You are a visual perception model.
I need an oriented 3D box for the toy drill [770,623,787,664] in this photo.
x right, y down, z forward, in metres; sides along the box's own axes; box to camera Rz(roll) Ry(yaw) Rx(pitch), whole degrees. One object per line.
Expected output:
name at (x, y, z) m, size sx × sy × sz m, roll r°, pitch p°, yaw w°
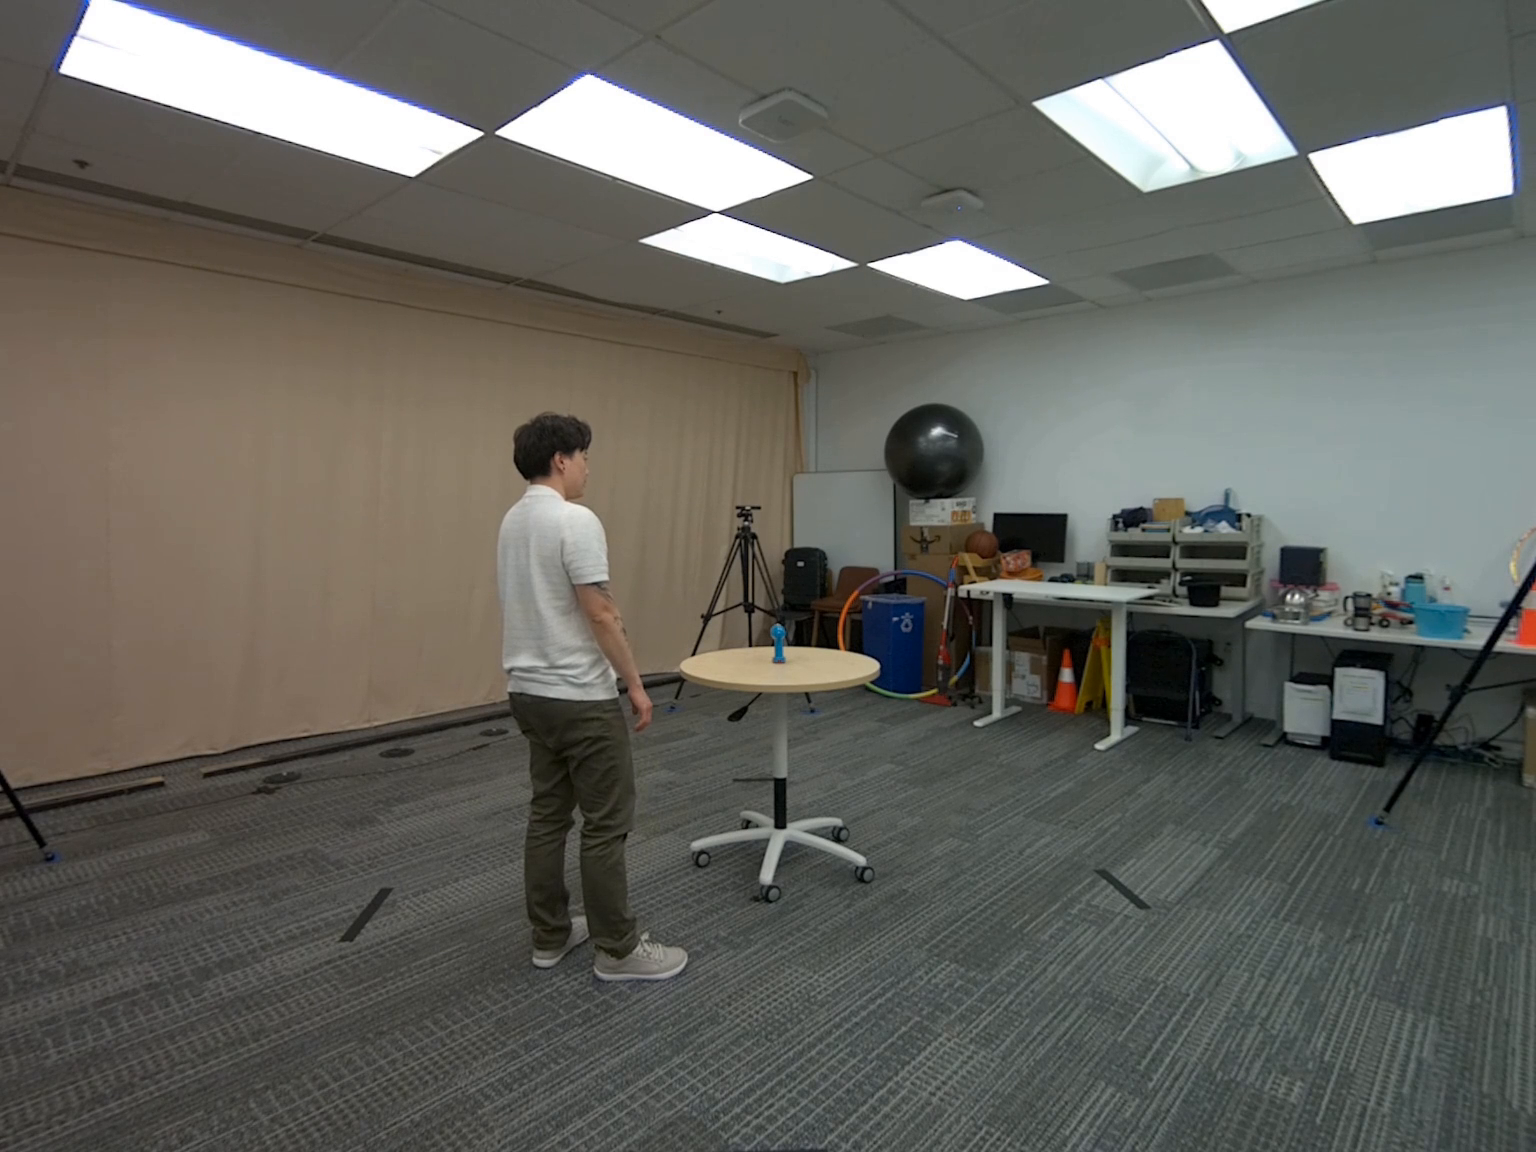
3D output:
toy drill at (0.035, 0.259, 3.312) m, size 0.061 × 0.145 × 0.171 m, roll -3°, pitch 5°, yaw -7°
